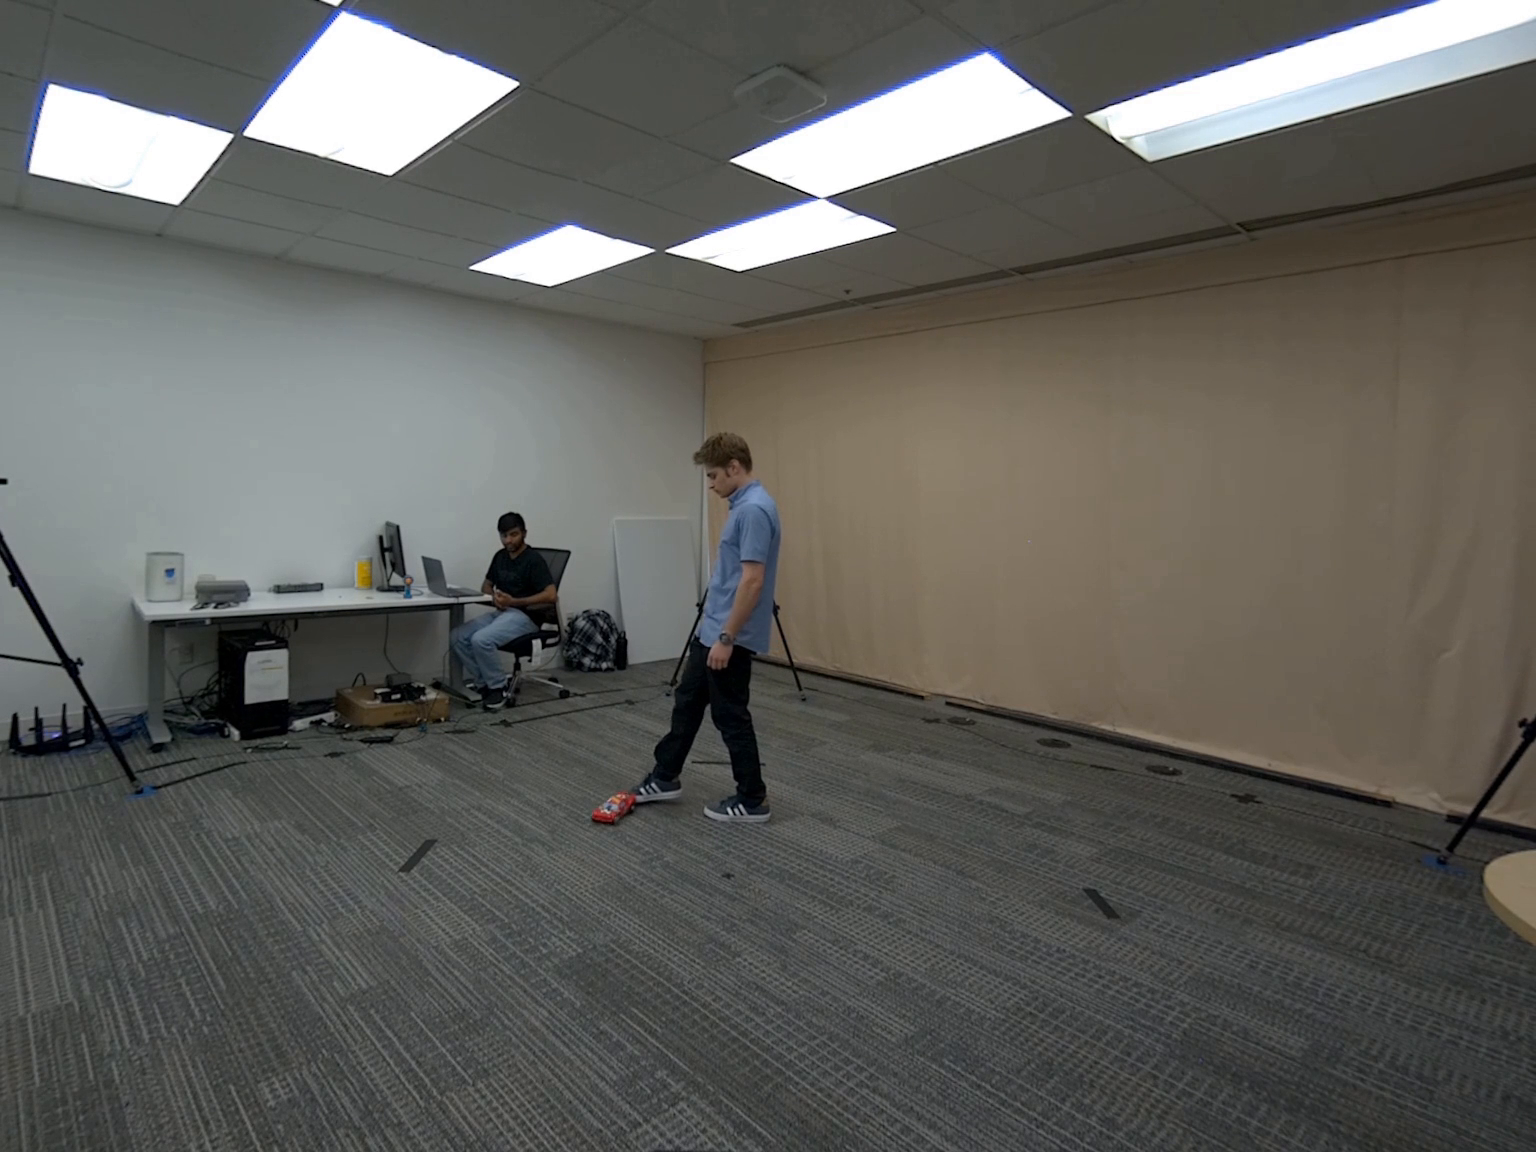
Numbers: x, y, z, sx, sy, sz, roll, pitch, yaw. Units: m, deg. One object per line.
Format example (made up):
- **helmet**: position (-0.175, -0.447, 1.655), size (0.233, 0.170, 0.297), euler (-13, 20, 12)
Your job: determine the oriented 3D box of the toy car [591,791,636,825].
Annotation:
- **toy car**: position (-0.674, 1.017, 3.668), size (0.132, 0.082, 0.253), euler (2, 15, 18)
